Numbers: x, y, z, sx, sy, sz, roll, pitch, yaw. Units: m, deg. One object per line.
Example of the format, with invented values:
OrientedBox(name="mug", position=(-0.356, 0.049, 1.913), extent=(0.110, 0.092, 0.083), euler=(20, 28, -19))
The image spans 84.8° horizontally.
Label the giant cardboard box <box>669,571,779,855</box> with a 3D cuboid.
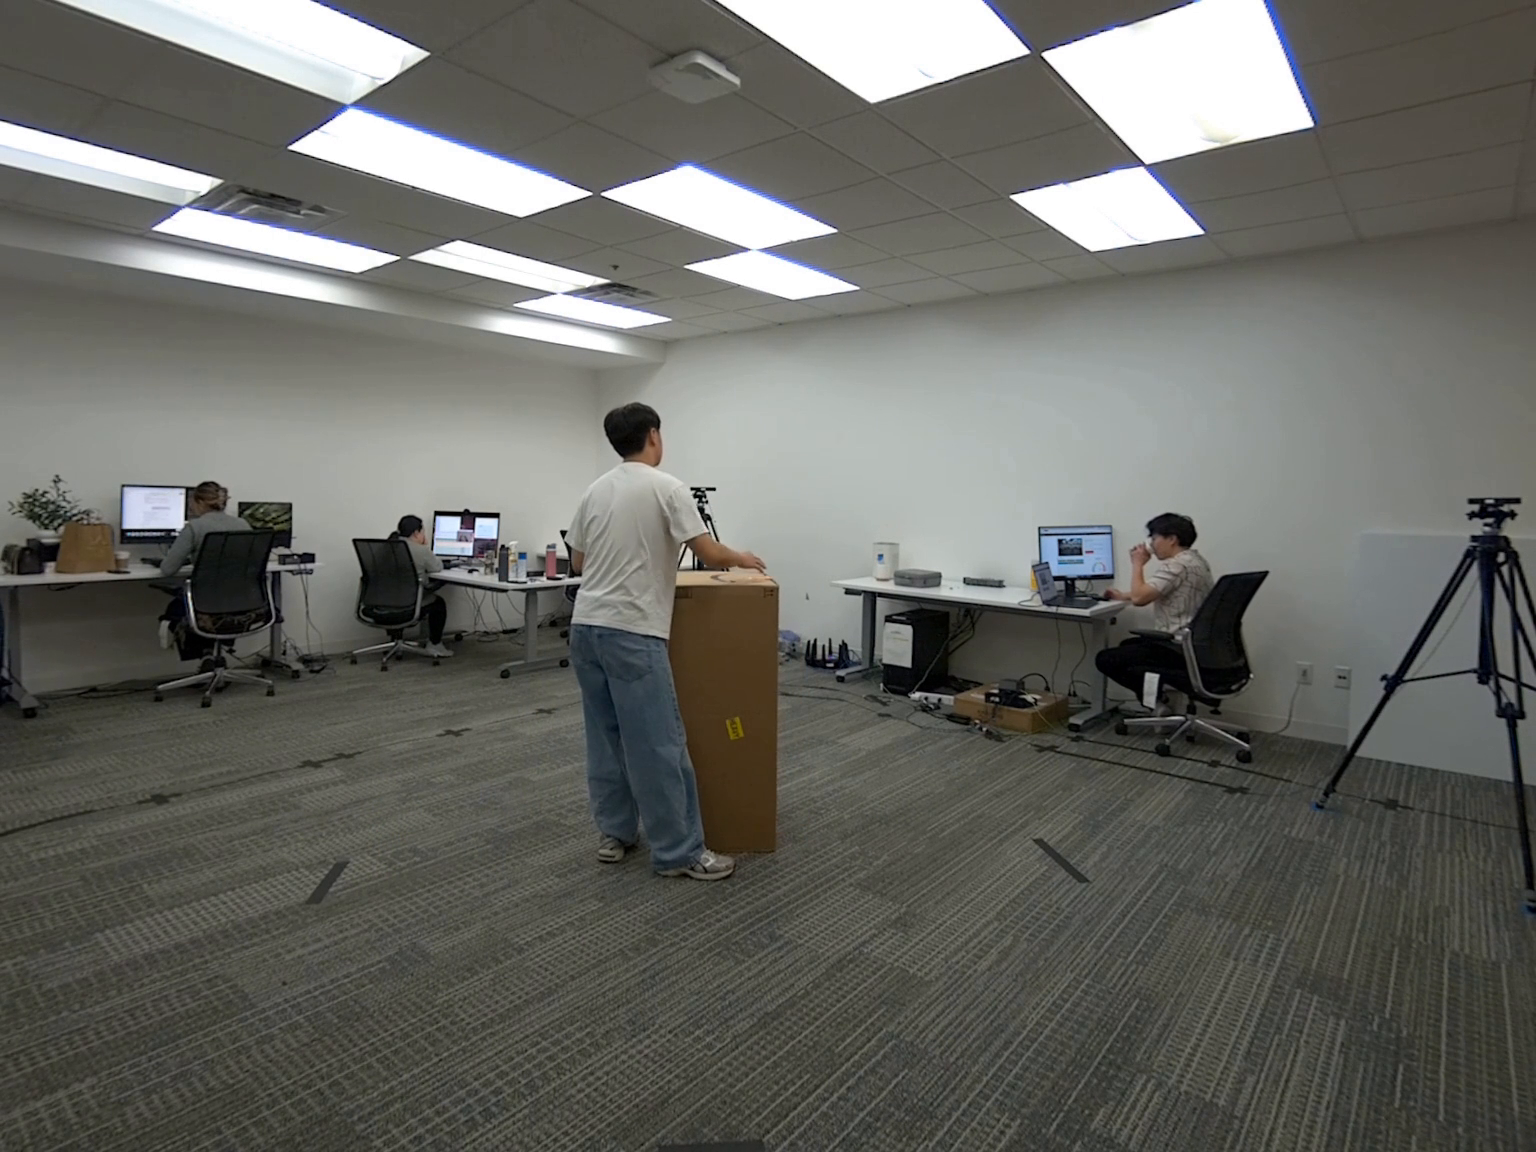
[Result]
OrientedBox(name="giant cardboard box", position=(-0.208, 0.513, 3.512), extent=(0.424, 1.023, 0.582), euler=(0, 3, -6))
